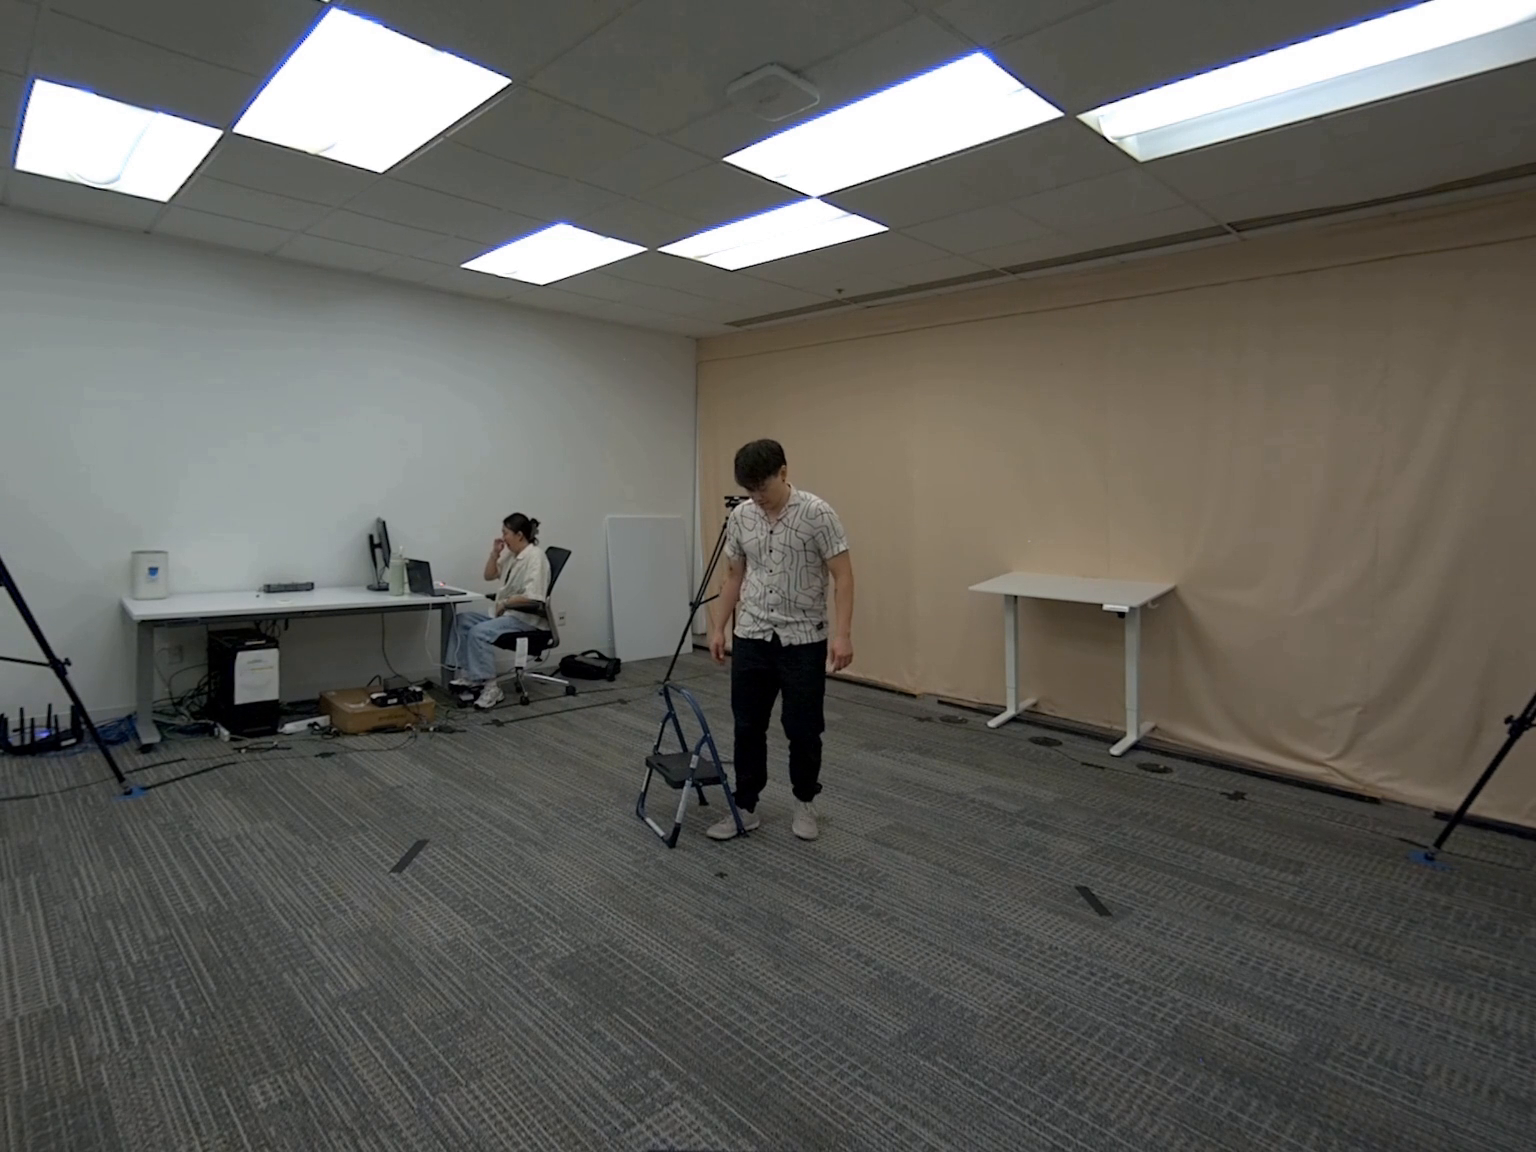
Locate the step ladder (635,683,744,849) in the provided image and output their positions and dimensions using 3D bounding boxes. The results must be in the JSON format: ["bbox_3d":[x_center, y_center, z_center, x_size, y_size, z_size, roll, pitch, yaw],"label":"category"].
[{"bbox_3d":[-0.332,0.753,3.559,0.342,0.605,0.440,0,3,-28],"label":"step ladder"}]
